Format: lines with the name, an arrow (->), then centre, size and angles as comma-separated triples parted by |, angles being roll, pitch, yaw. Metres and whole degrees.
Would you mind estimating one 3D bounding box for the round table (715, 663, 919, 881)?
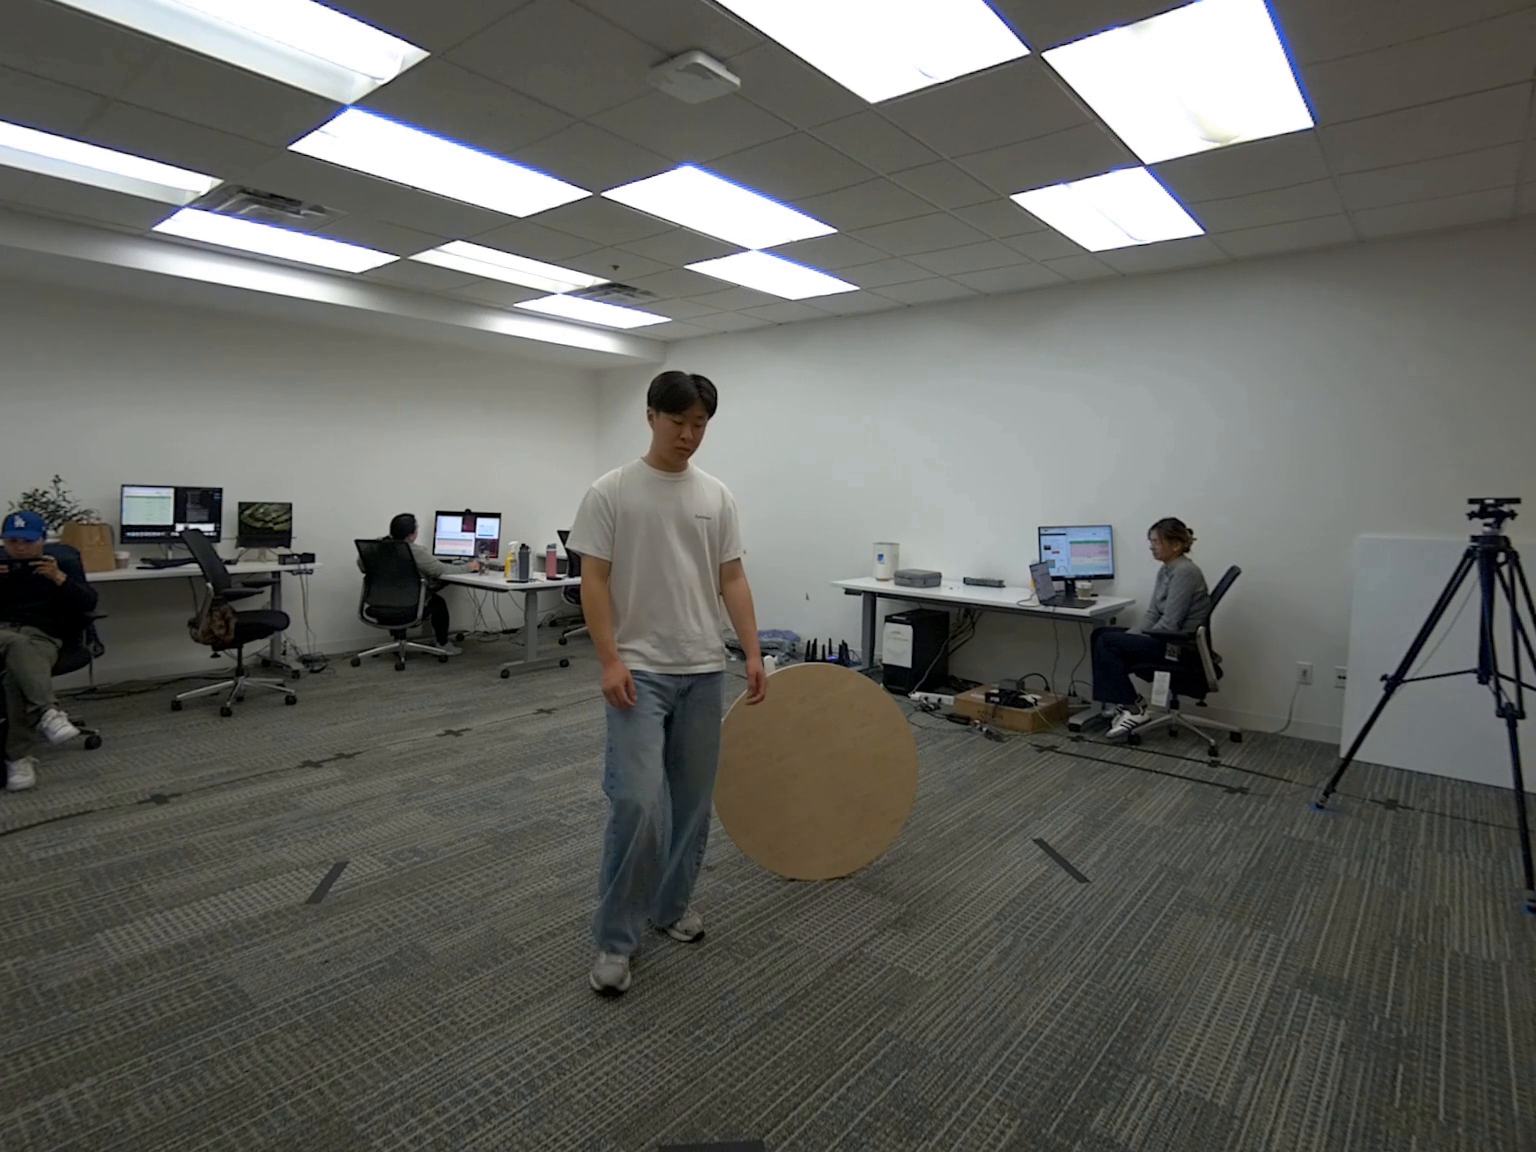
round table -> 0.083, 0.693, 3.445 | 0.777, 0.787, 0.793 | 0, -1, -11
